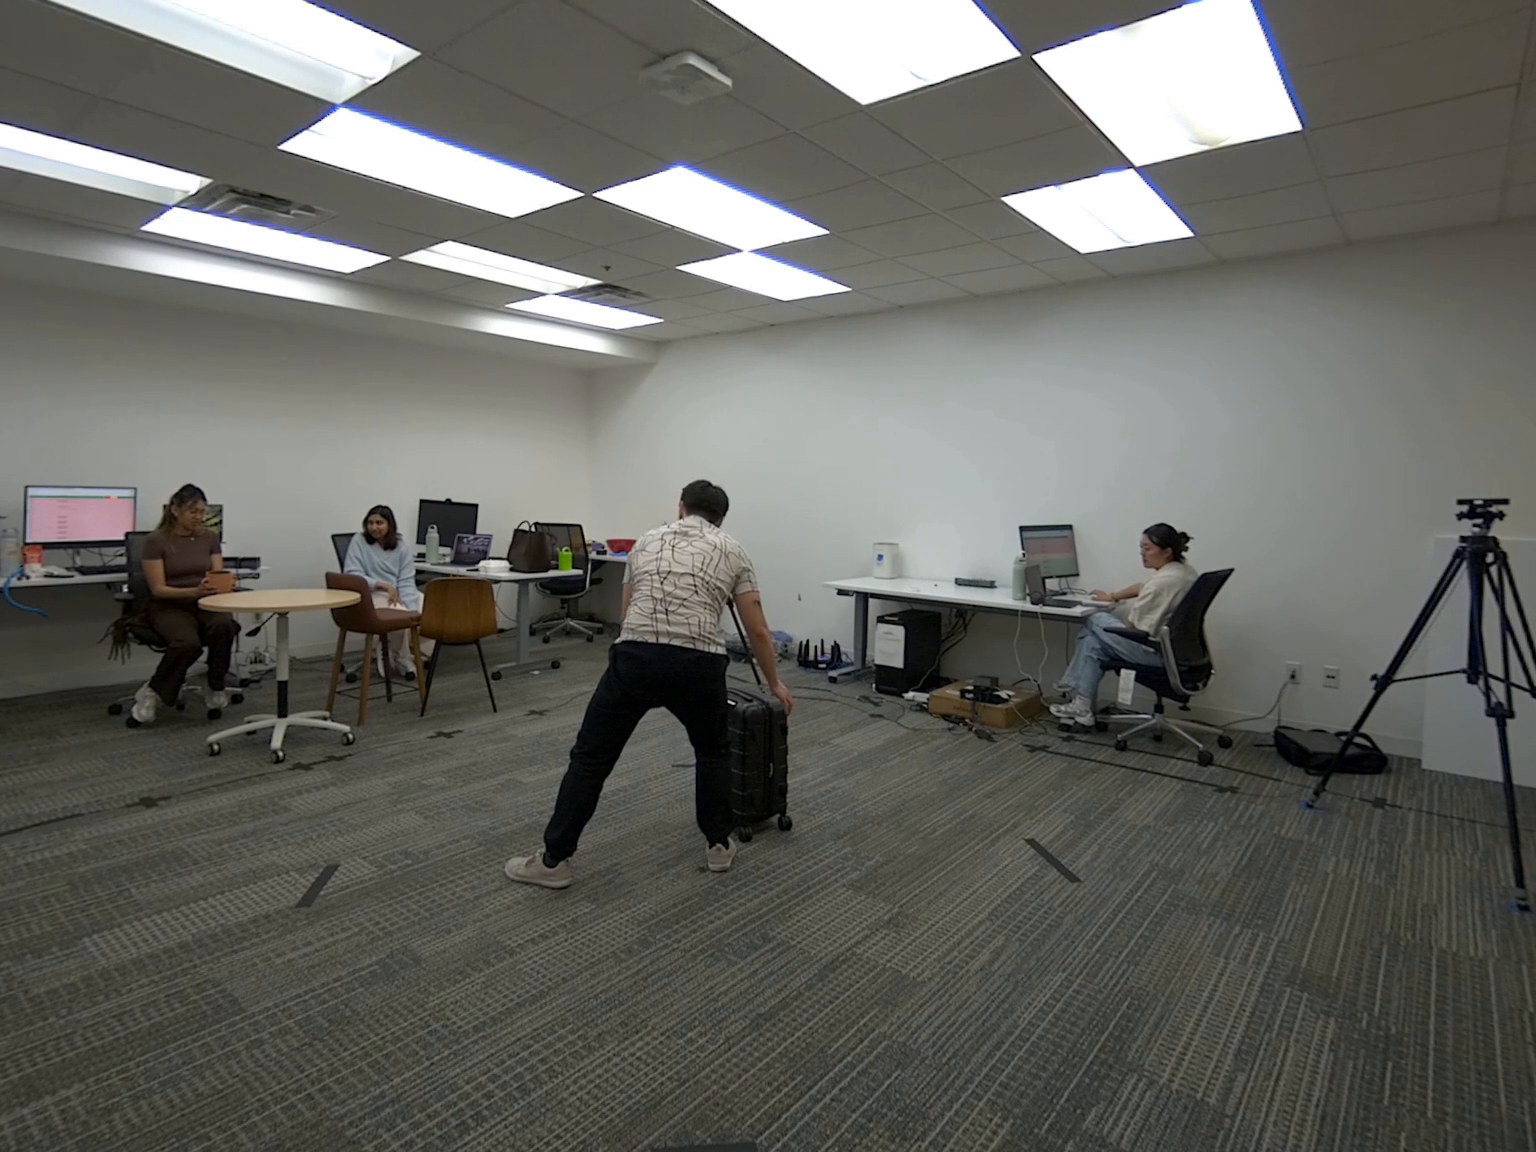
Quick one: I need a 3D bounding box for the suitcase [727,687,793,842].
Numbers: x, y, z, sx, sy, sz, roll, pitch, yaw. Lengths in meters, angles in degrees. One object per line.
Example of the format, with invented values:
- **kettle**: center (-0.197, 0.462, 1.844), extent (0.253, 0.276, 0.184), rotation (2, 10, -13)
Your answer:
- **suitcase**: center (-0.118, 0.753, 3.566), extent (0.241, 0.548, 0.387), rotation (-1, 2, -37)
